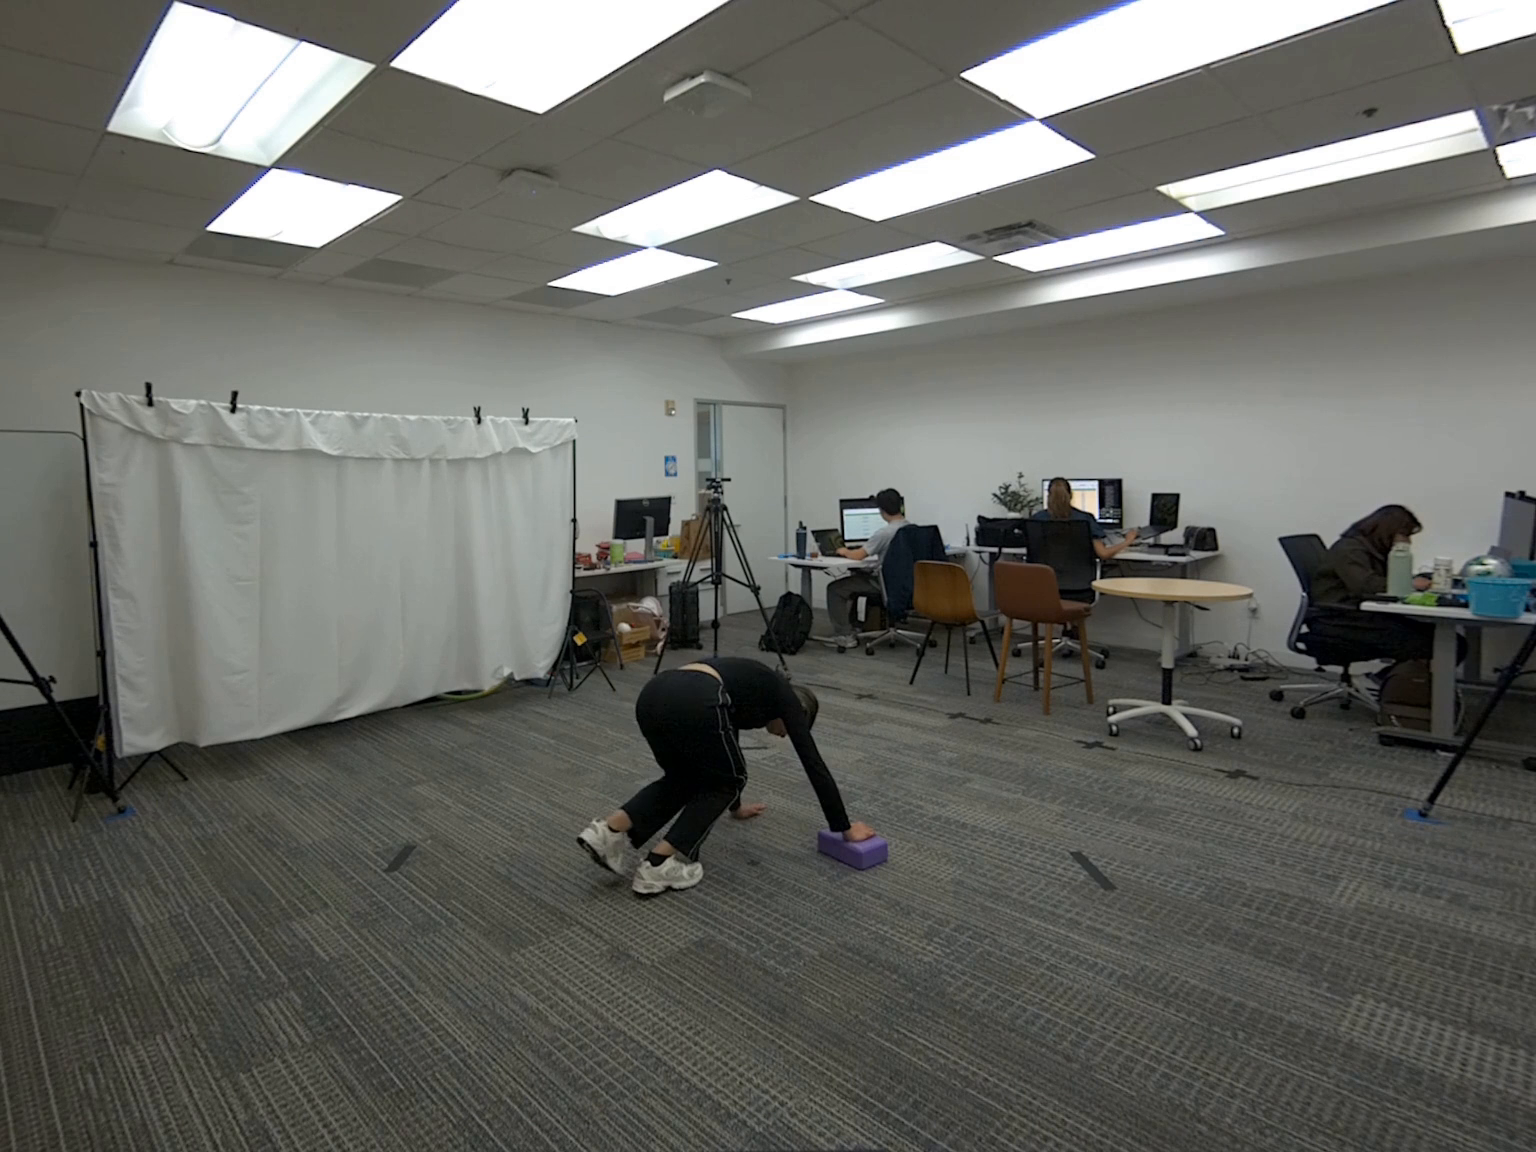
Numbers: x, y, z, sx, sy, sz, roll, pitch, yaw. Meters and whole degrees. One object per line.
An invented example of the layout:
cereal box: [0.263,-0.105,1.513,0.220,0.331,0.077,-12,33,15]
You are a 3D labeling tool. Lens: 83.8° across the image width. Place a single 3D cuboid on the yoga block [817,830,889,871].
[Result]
yoga block: [0.308,0.990,3.148,0.145,0.076,0.237,-5,9,-38]
